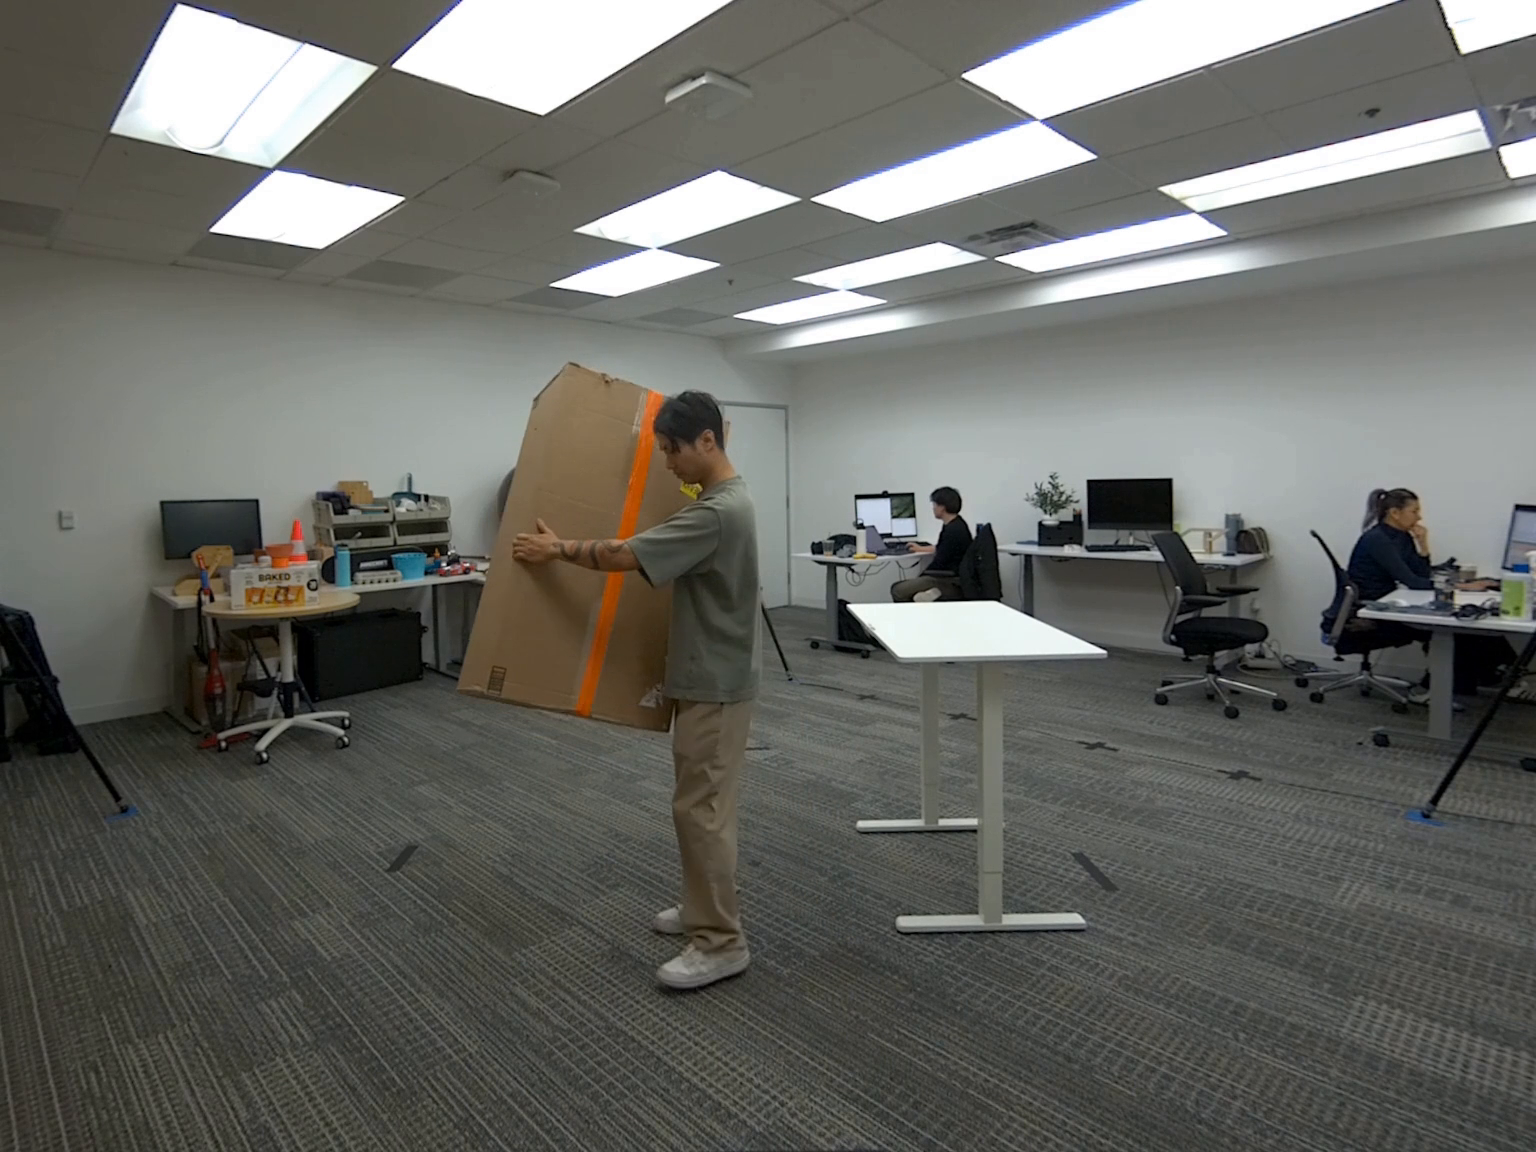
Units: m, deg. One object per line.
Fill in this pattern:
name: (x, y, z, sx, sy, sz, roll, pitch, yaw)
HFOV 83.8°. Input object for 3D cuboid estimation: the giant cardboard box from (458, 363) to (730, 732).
giant cardboard box: (-0.549, -0.070, 2.751, 0.562, 1.037, 0.433, 17, -16, -26)
